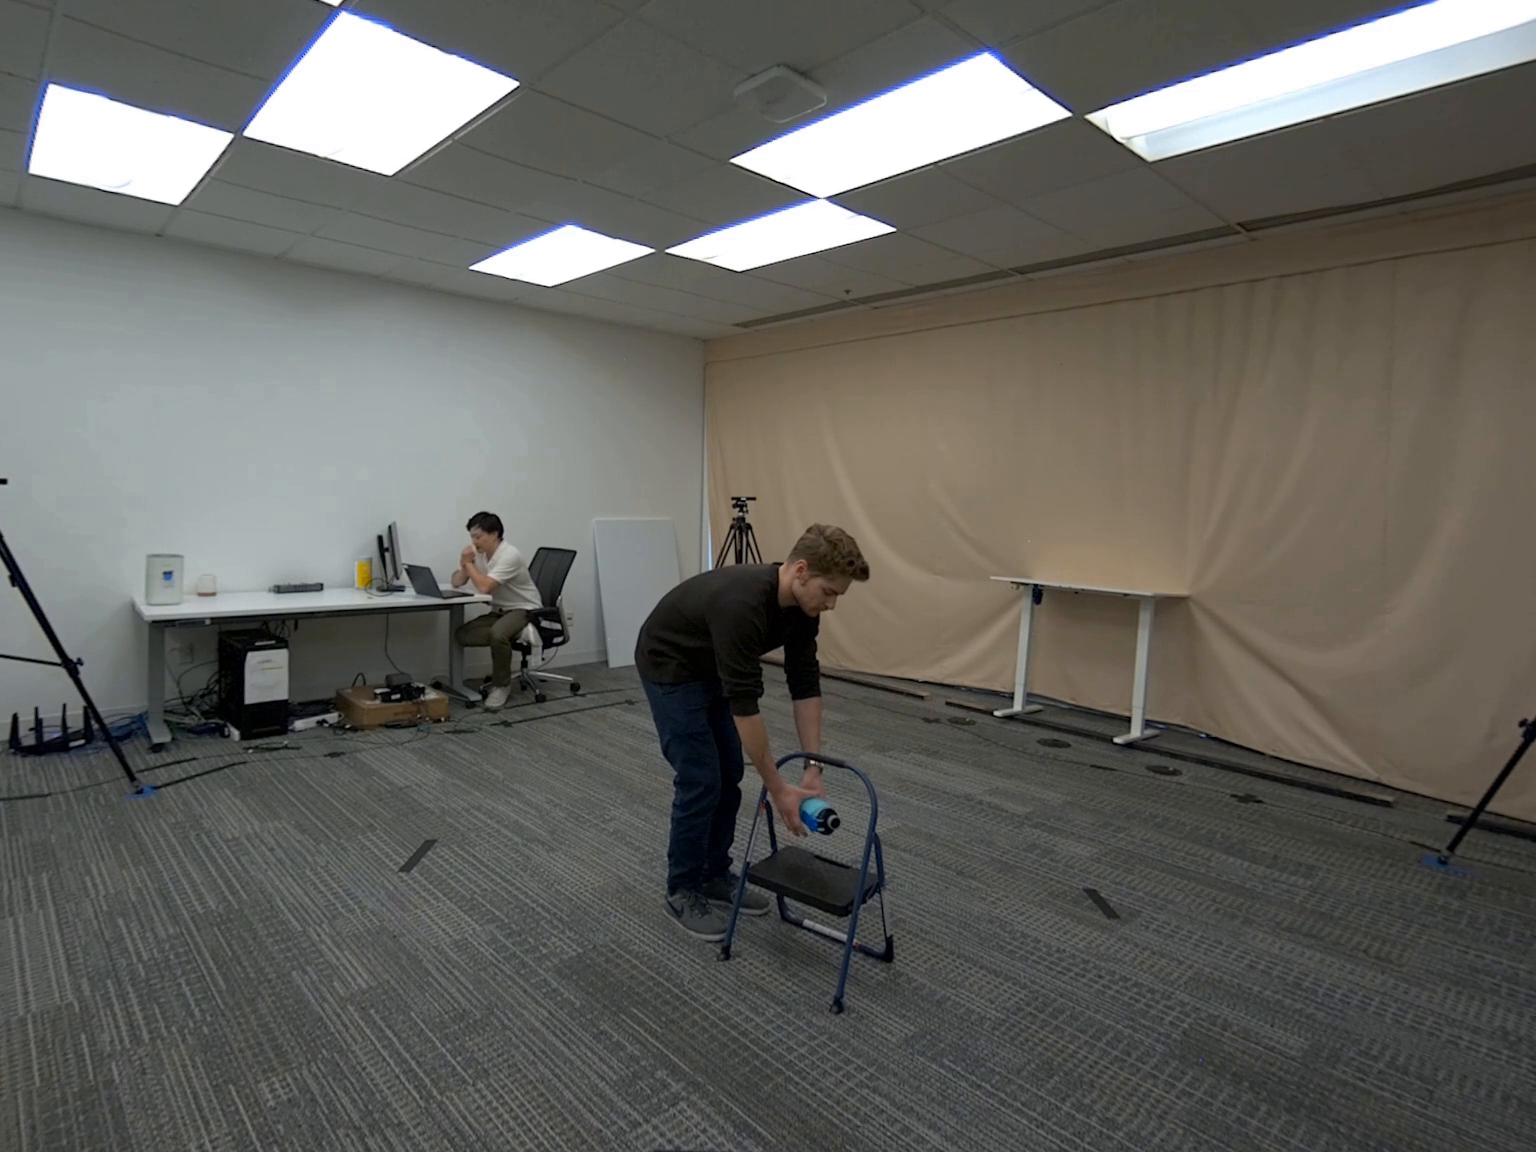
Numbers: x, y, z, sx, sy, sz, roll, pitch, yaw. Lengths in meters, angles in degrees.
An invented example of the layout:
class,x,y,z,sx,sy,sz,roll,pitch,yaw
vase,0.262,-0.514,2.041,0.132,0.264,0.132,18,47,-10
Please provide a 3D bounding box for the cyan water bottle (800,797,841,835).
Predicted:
class,x,y,z,sx,sy,sz,roll,pitch,yaw
cyan water bottle,0.134,0.727,2.558,0.091,0.092,0.288,0,2,-23
